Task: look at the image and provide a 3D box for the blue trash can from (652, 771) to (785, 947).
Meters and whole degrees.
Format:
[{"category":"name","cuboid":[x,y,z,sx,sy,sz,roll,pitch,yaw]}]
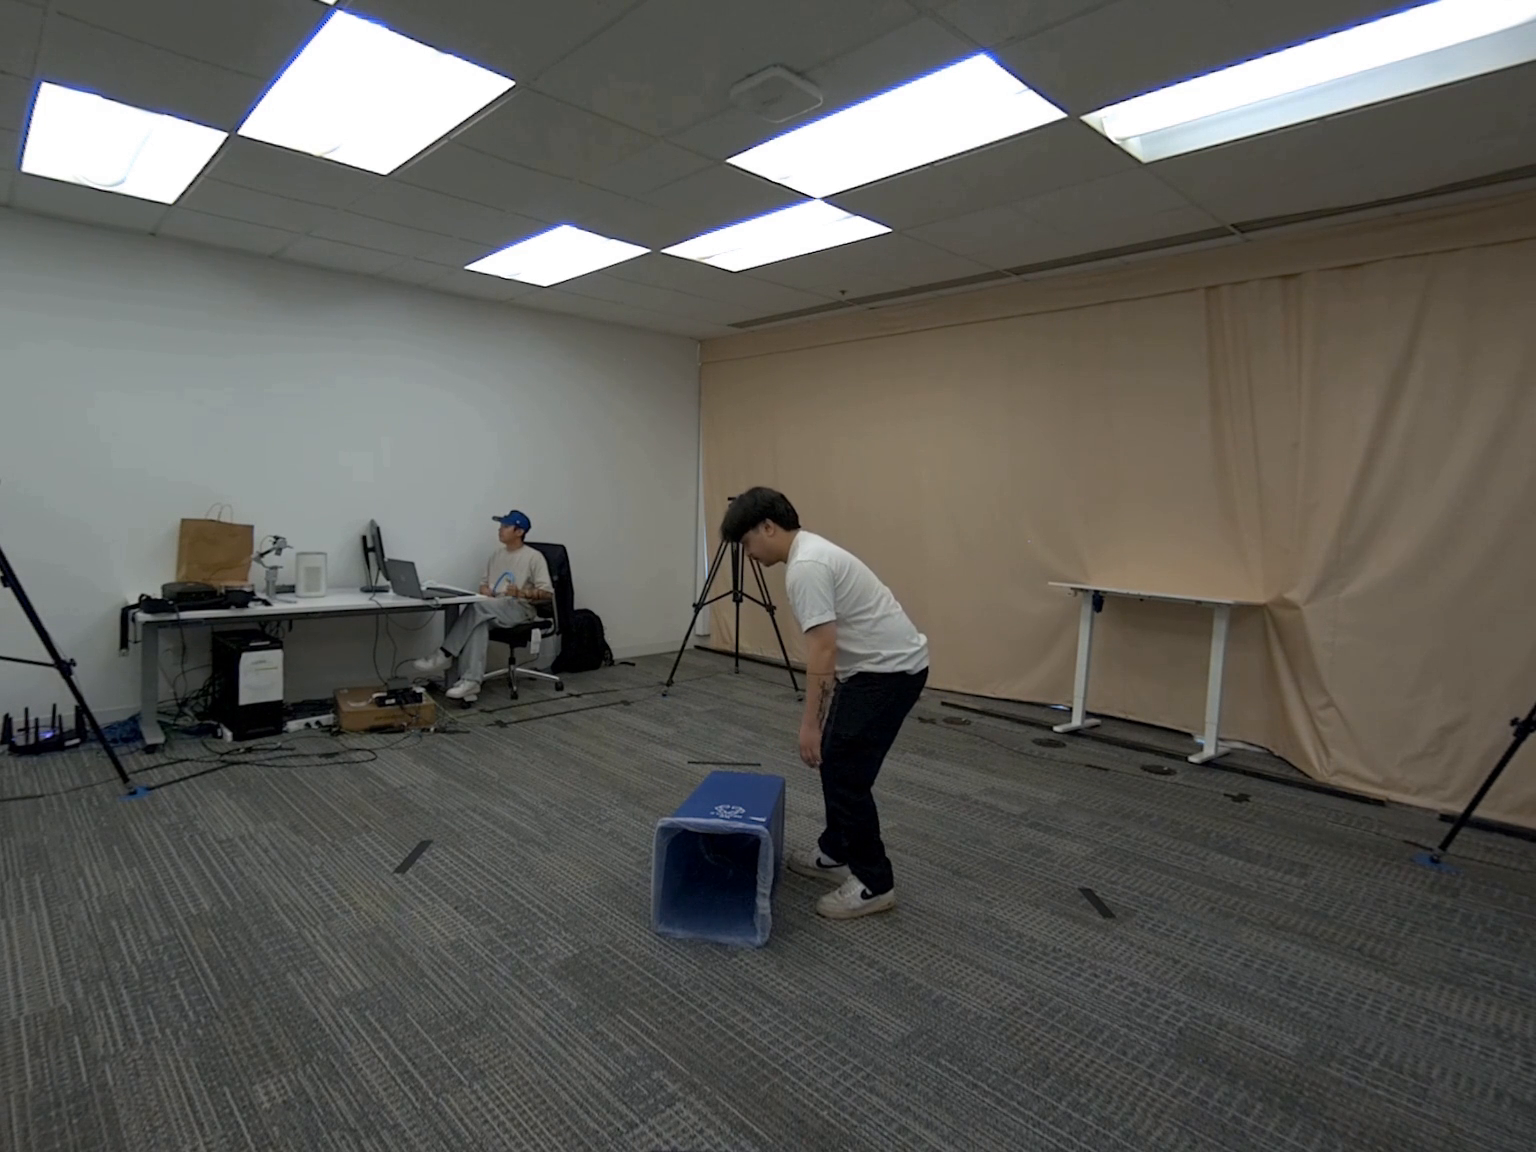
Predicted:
[{"category":"blue trash can","cuboid":[-0.145,0.952,2.982,0.376,0.378,0.709,1,2,7]}]
